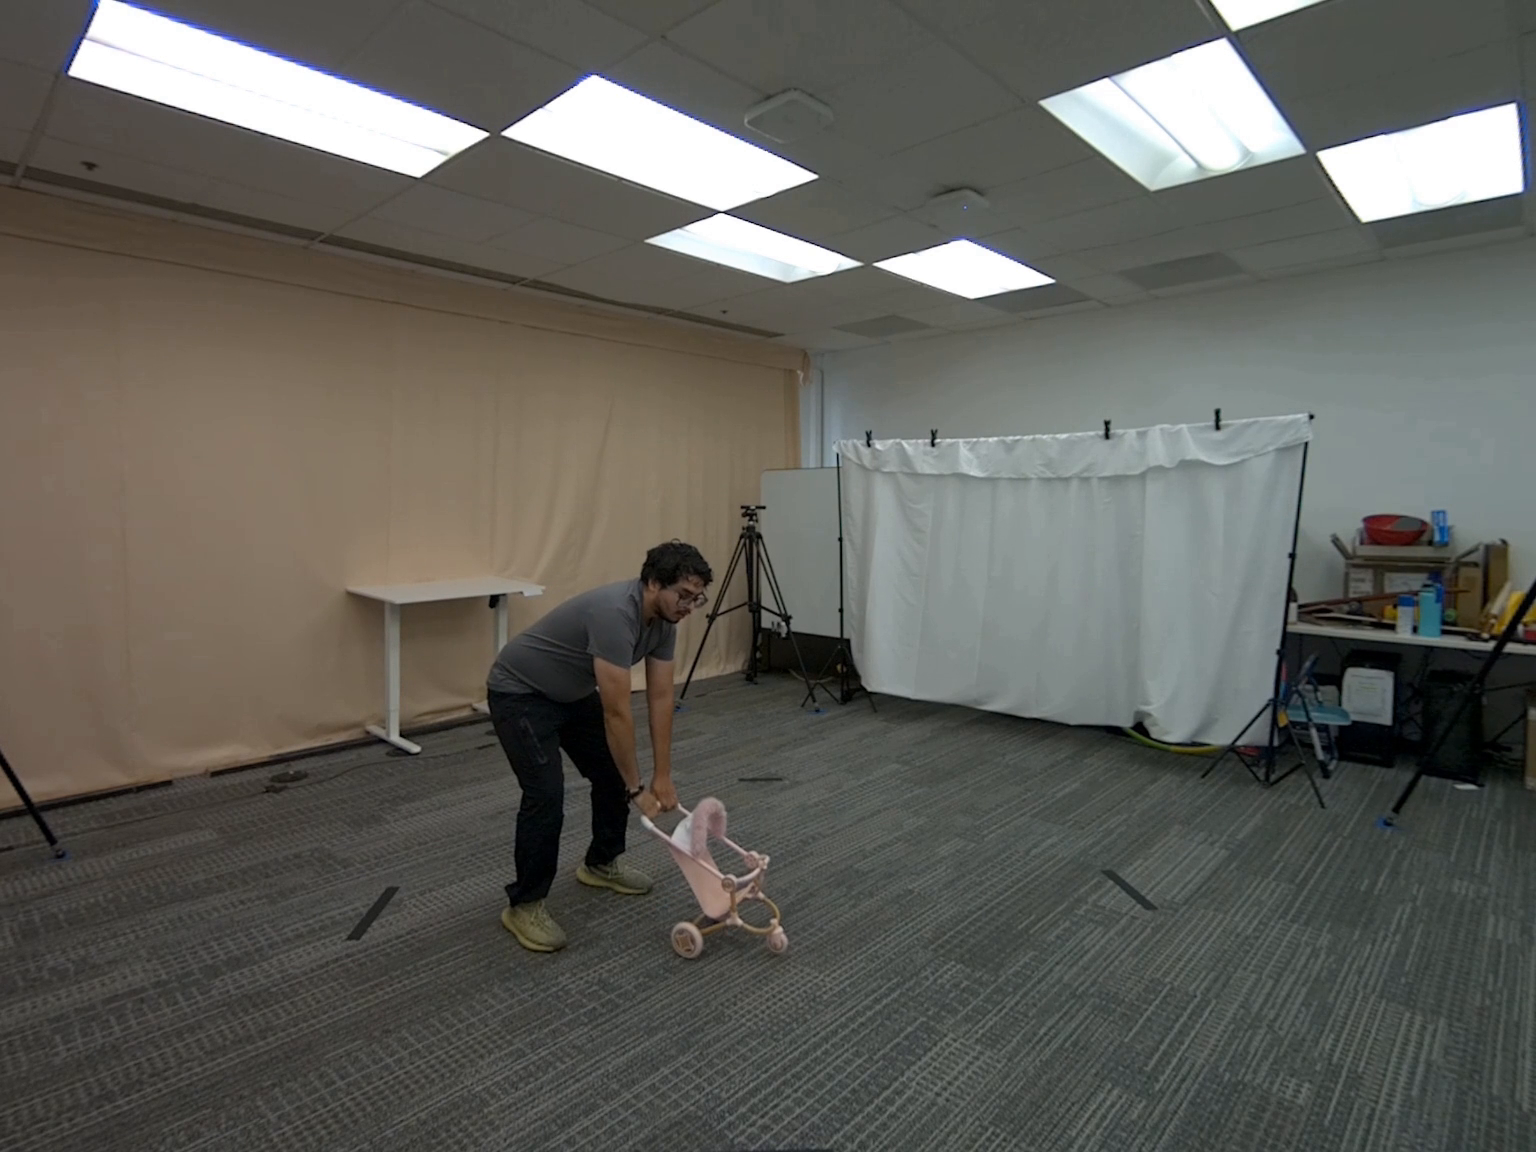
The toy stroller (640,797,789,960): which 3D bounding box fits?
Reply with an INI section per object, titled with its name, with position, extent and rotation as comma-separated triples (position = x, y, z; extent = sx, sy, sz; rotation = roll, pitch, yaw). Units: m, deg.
[toy stroller]
position = -0.155, 0.950, 2.666
extent = 0.348, 0.538, 0.274
rotation = -21, -6, 27
